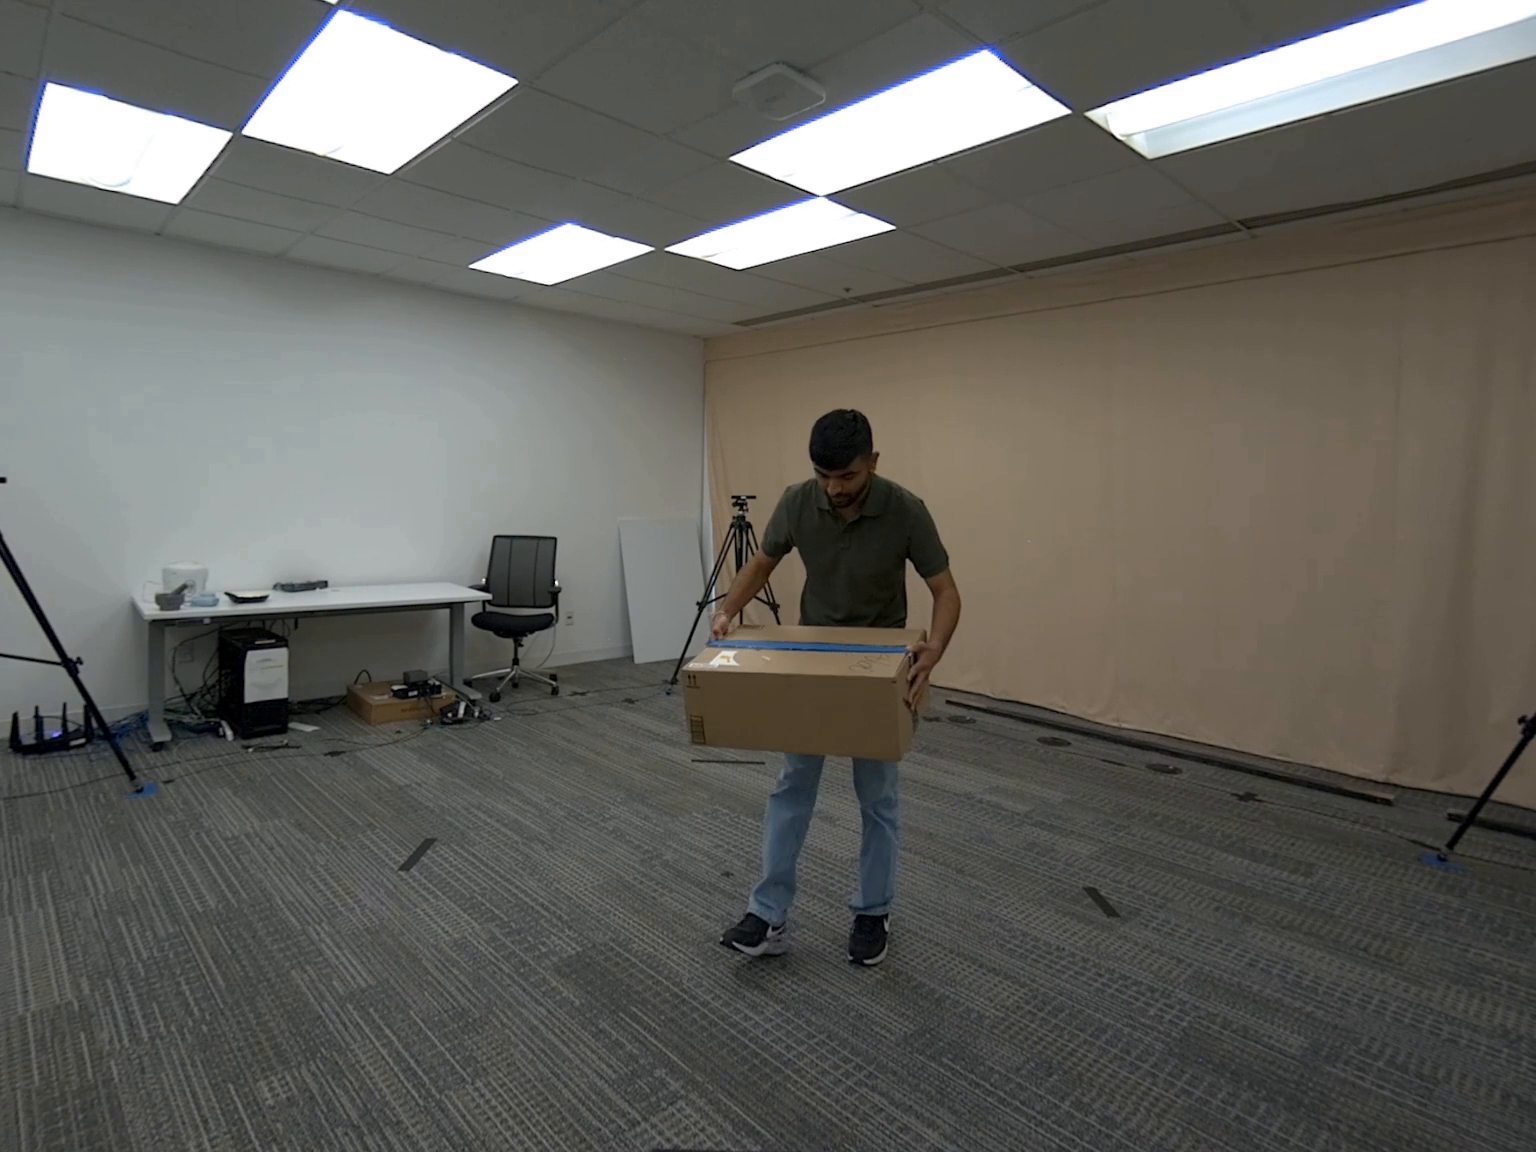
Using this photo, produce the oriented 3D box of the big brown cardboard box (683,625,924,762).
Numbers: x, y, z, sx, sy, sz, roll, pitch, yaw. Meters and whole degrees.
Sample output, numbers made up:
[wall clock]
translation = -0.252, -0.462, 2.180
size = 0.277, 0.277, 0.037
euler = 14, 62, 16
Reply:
[big brown cardboard box]
translation = 0.106, 0.297, 2.289
size = 0.598, 0.231, 0.414
euler = 0, 13, 21
